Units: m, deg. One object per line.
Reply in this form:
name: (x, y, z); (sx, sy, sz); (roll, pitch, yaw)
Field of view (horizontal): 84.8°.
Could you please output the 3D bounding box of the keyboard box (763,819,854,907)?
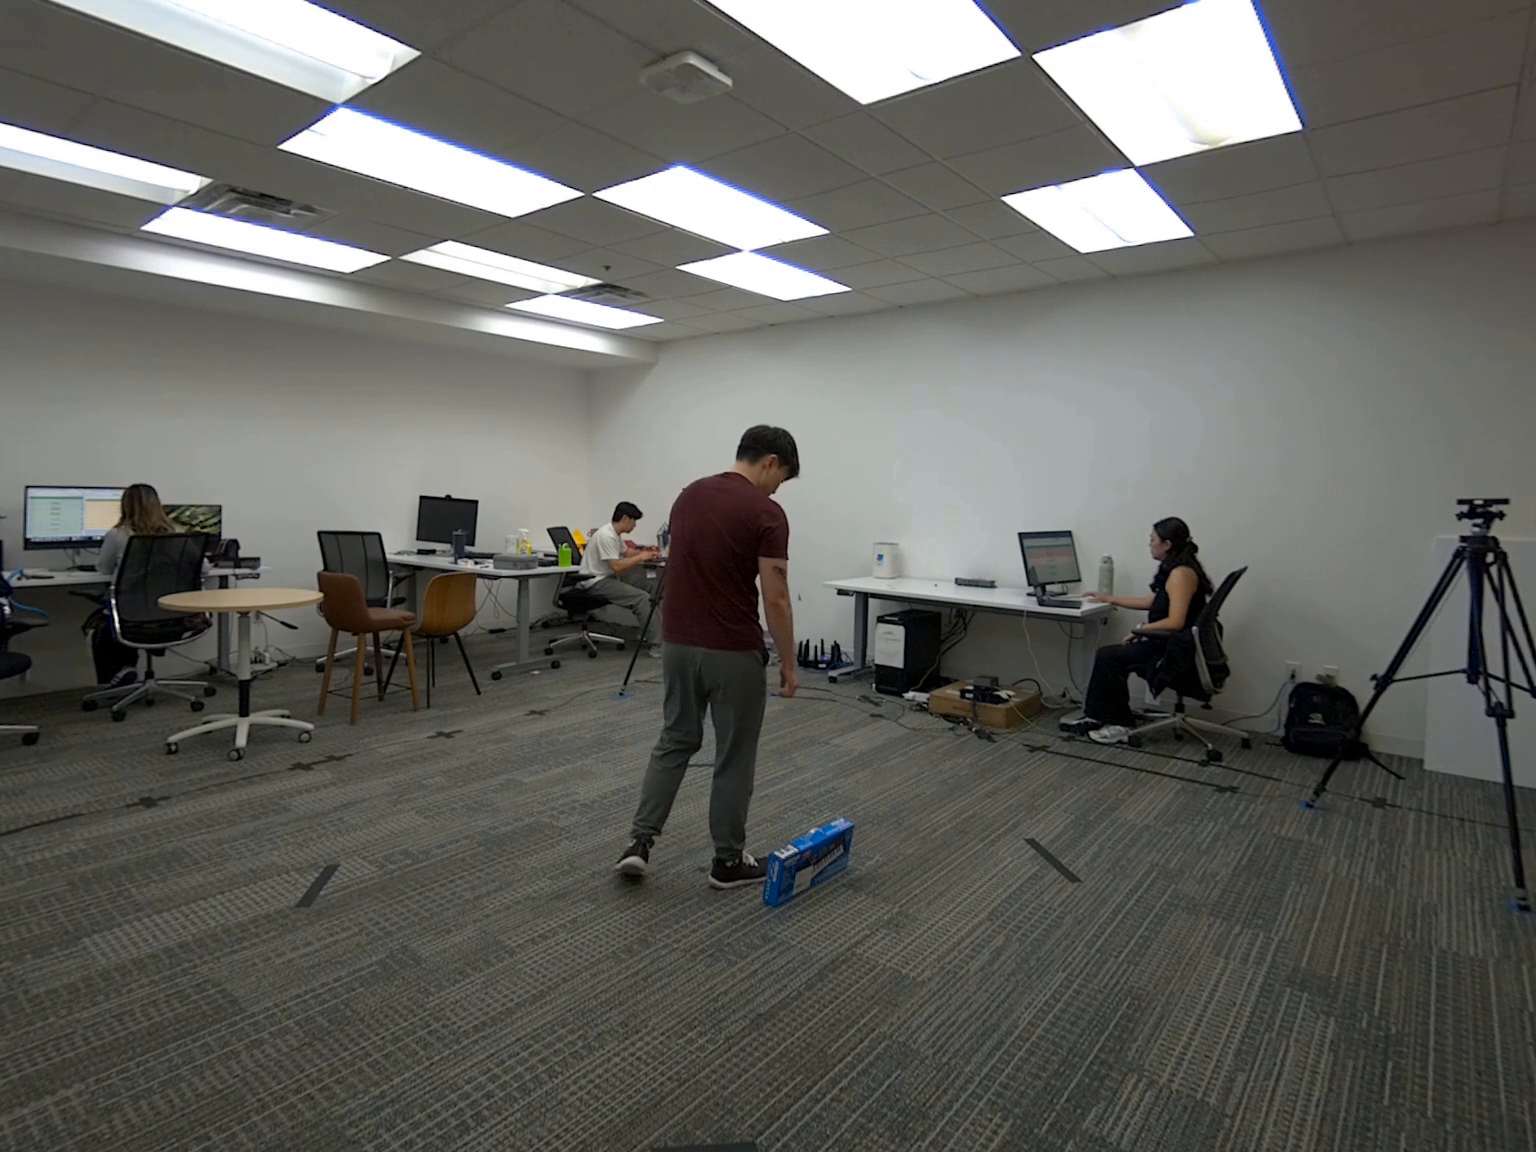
keyboard box: (0.142, 1.003, 2.999); (0.061, 0.174, 0.424); (16, 13, 38)
